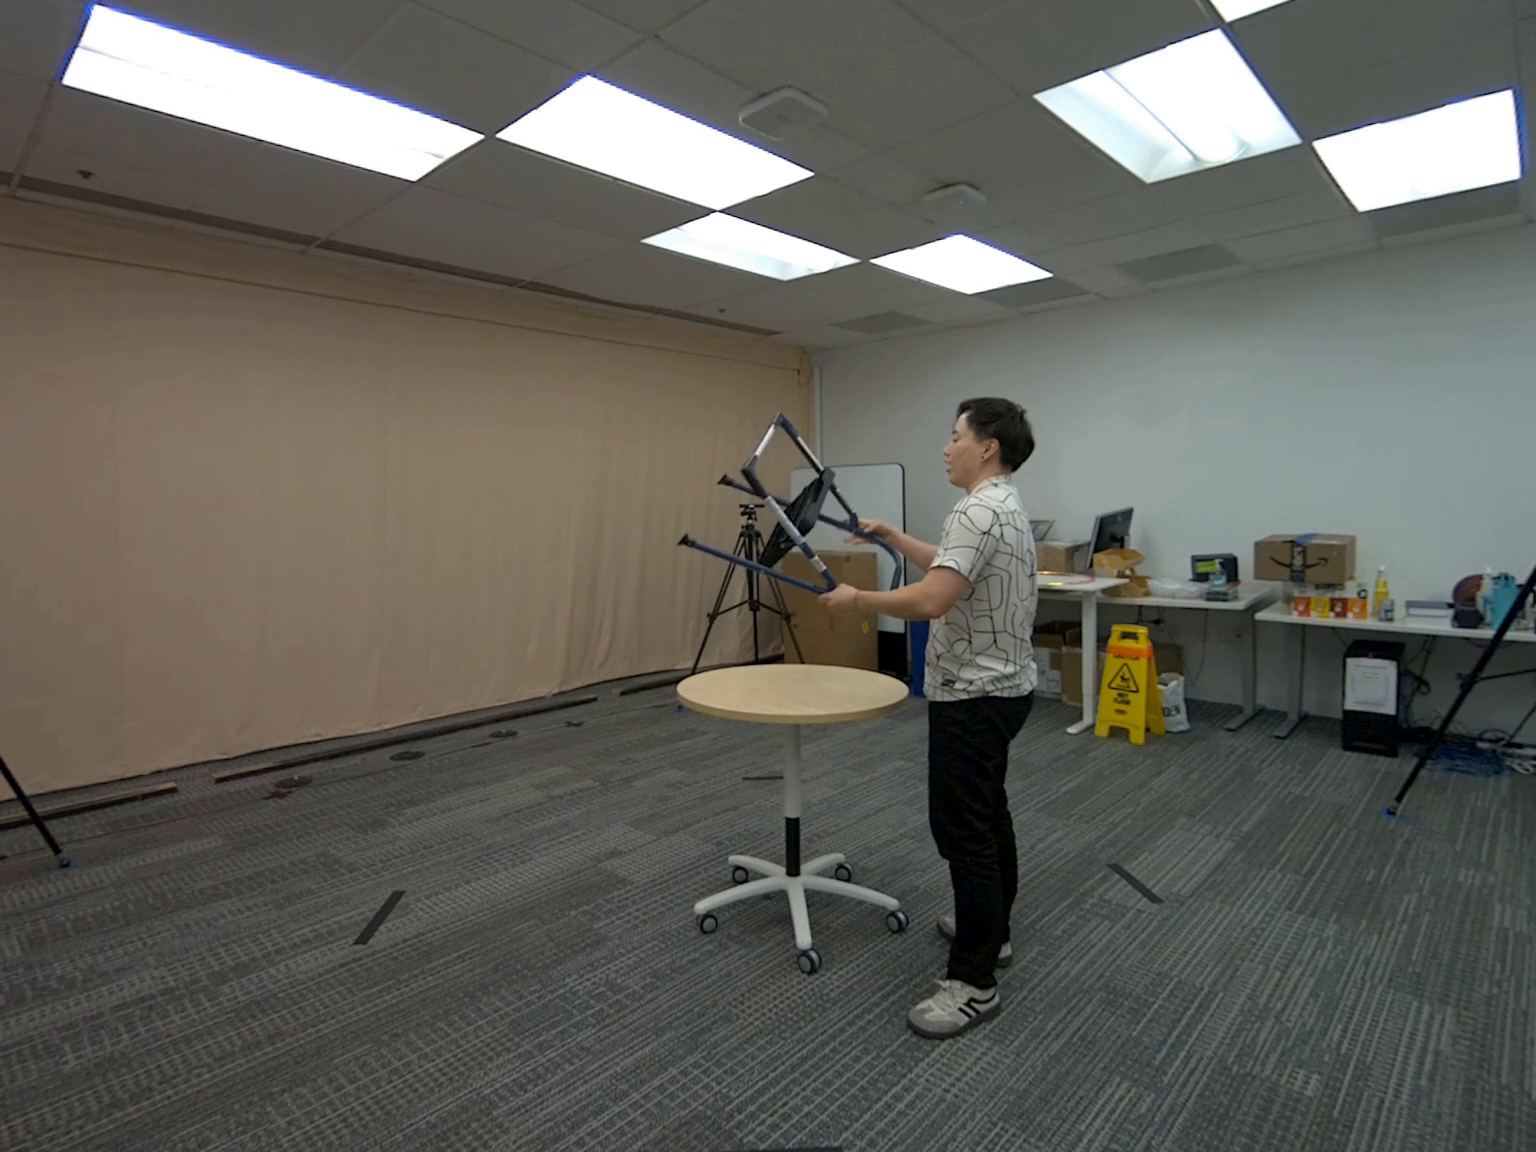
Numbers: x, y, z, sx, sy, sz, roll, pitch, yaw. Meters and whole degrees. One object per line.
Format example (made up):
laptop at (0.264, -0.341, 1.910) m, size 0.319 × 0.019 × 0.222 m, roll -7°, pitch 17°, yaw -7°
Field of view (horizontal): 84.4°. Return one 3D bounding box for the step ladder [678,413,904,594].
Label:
step ladder at (0.133, -0.116, 2.582) m, size 0.601 × 0.352 × 0.431 m, roll 37°, pitch 36°, yaw -7°
